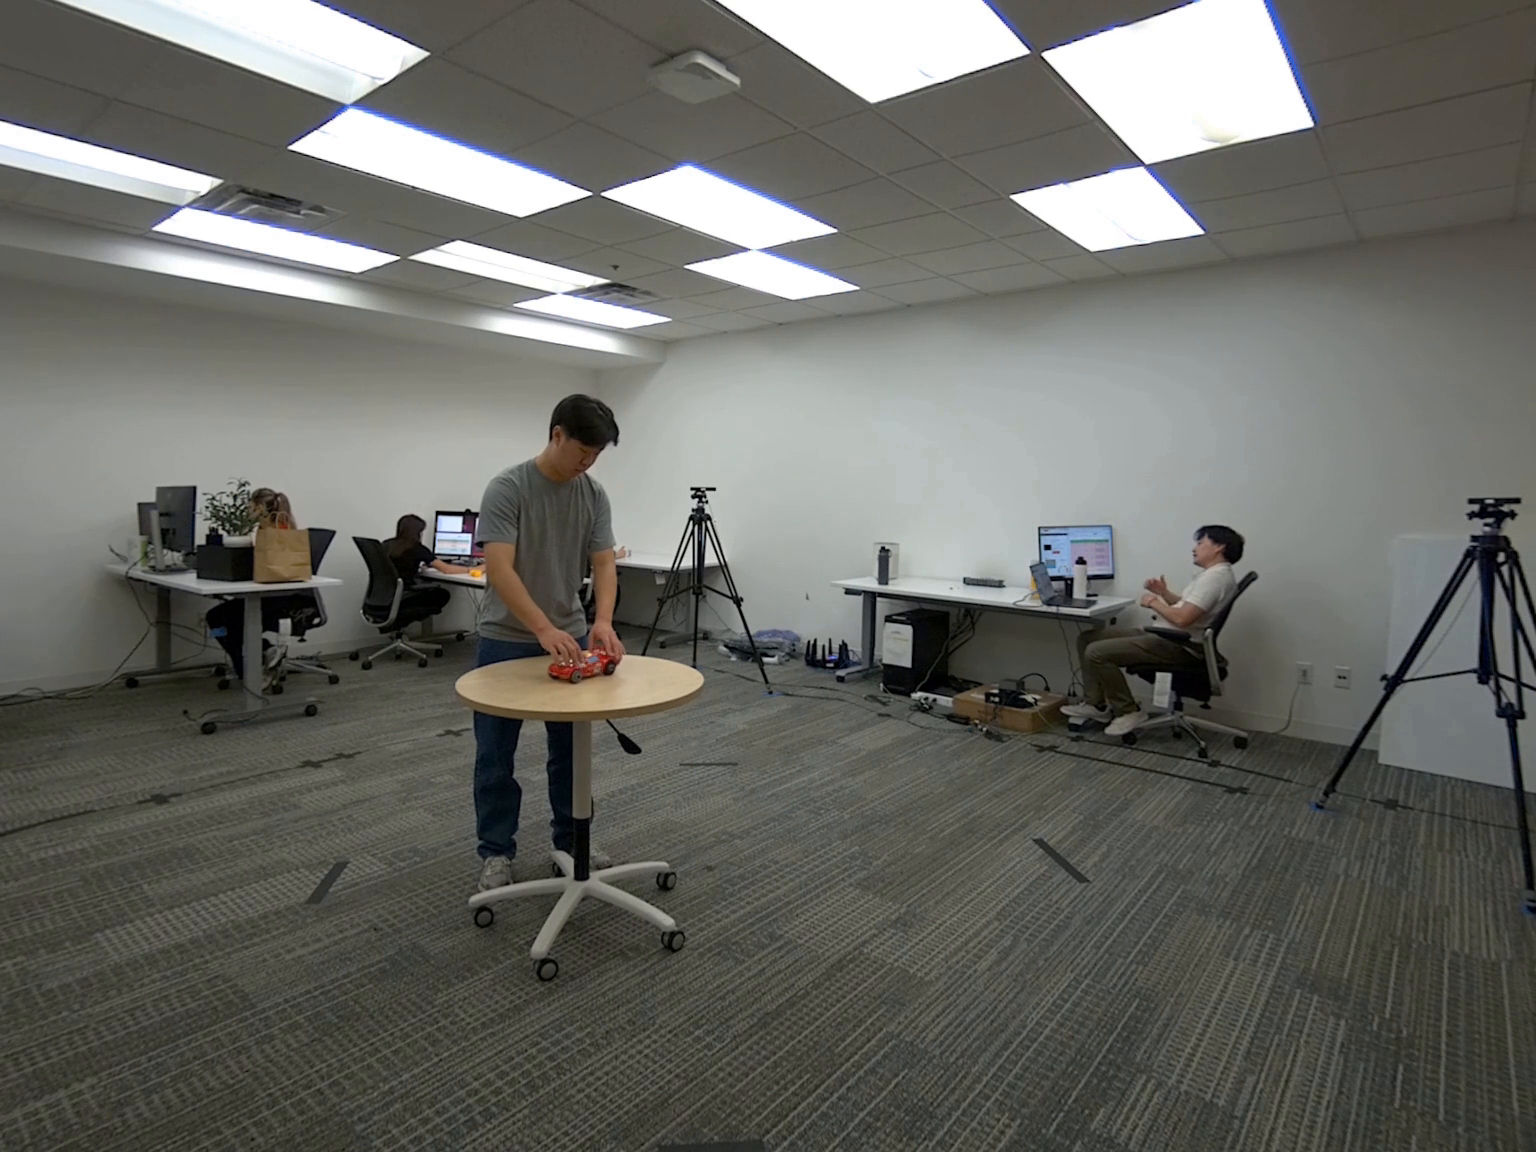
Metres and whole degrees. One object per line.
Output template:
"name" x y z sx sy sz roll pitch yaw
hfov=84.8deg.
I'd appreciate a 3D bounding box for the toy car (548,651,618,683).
"toy car" -0.591 0.288 2.707 0.134 0.082 0.250 4 18 37
